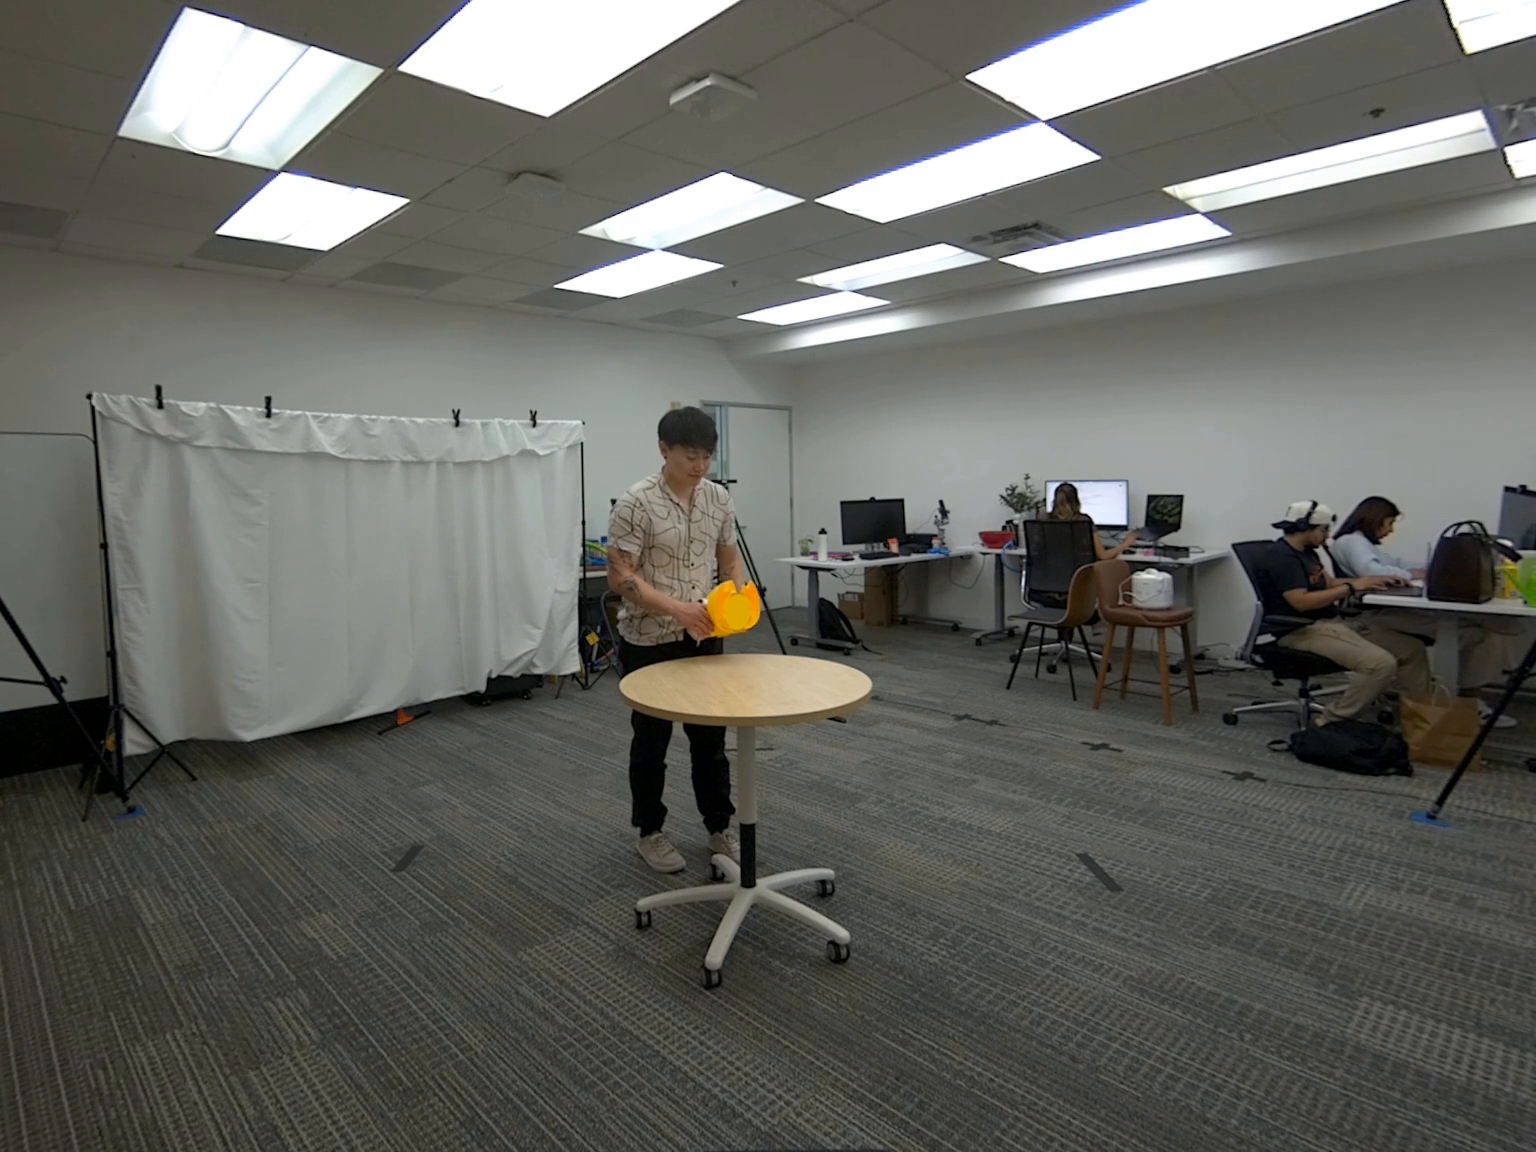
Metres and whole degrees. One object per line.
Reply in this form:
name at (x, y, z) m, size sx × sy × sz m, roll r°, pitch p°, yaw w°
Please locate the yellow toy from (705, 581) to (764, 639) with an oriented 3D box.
yellow toy at (-0.176, 0.110, 2.930) m, size 0.199 × 0.193 × 0.237 m, roll -4°, pitch 3°, yaw -41°
